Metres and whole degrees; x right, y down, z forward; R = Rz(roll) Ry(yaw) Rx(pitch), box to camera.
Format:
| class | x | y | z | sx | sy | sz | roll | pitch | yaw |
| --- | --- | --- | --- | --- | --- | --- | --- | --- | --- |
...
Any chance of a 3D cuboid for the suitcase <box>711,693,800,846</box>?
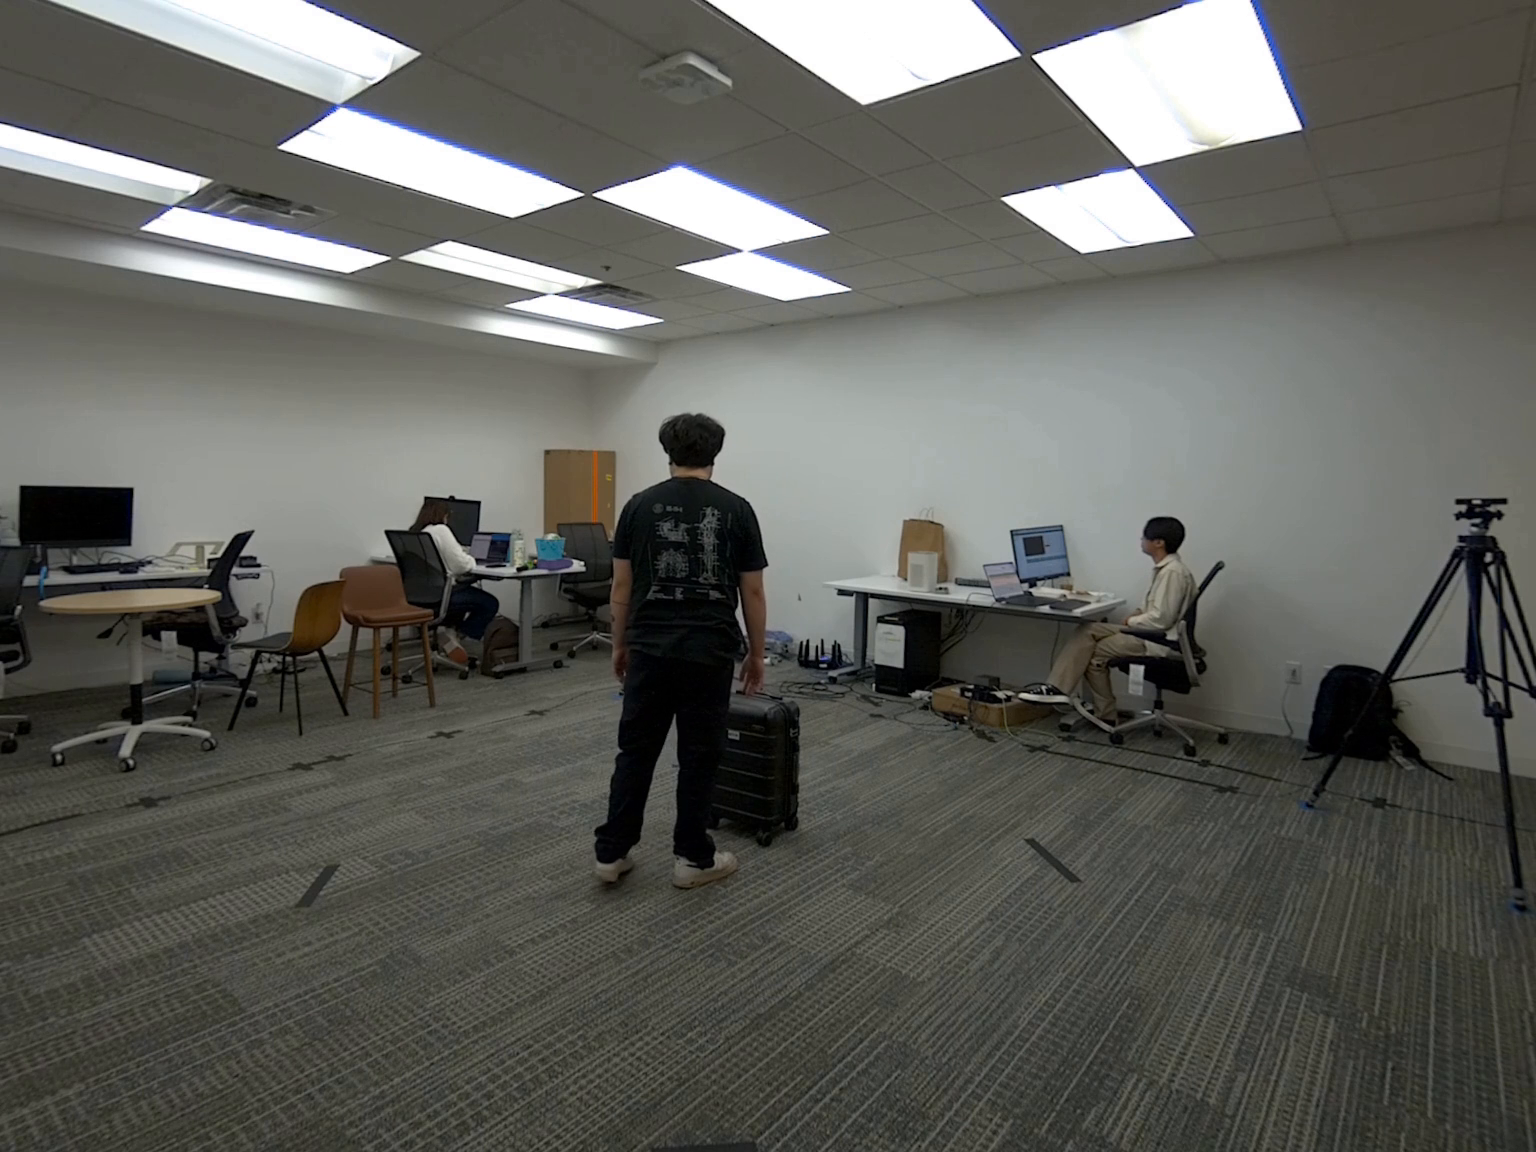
| class | x | y | z | sx | sy | sz | roll | pitch | yaw |
| --- | --- | --- | --- | --- | --- | --- | --- | --- | --- |
| suitcase | -0.072 | 0.759 | 3.503 | 0.387 | 0.548 | 0.241 | 3 | 3 | 32 |
